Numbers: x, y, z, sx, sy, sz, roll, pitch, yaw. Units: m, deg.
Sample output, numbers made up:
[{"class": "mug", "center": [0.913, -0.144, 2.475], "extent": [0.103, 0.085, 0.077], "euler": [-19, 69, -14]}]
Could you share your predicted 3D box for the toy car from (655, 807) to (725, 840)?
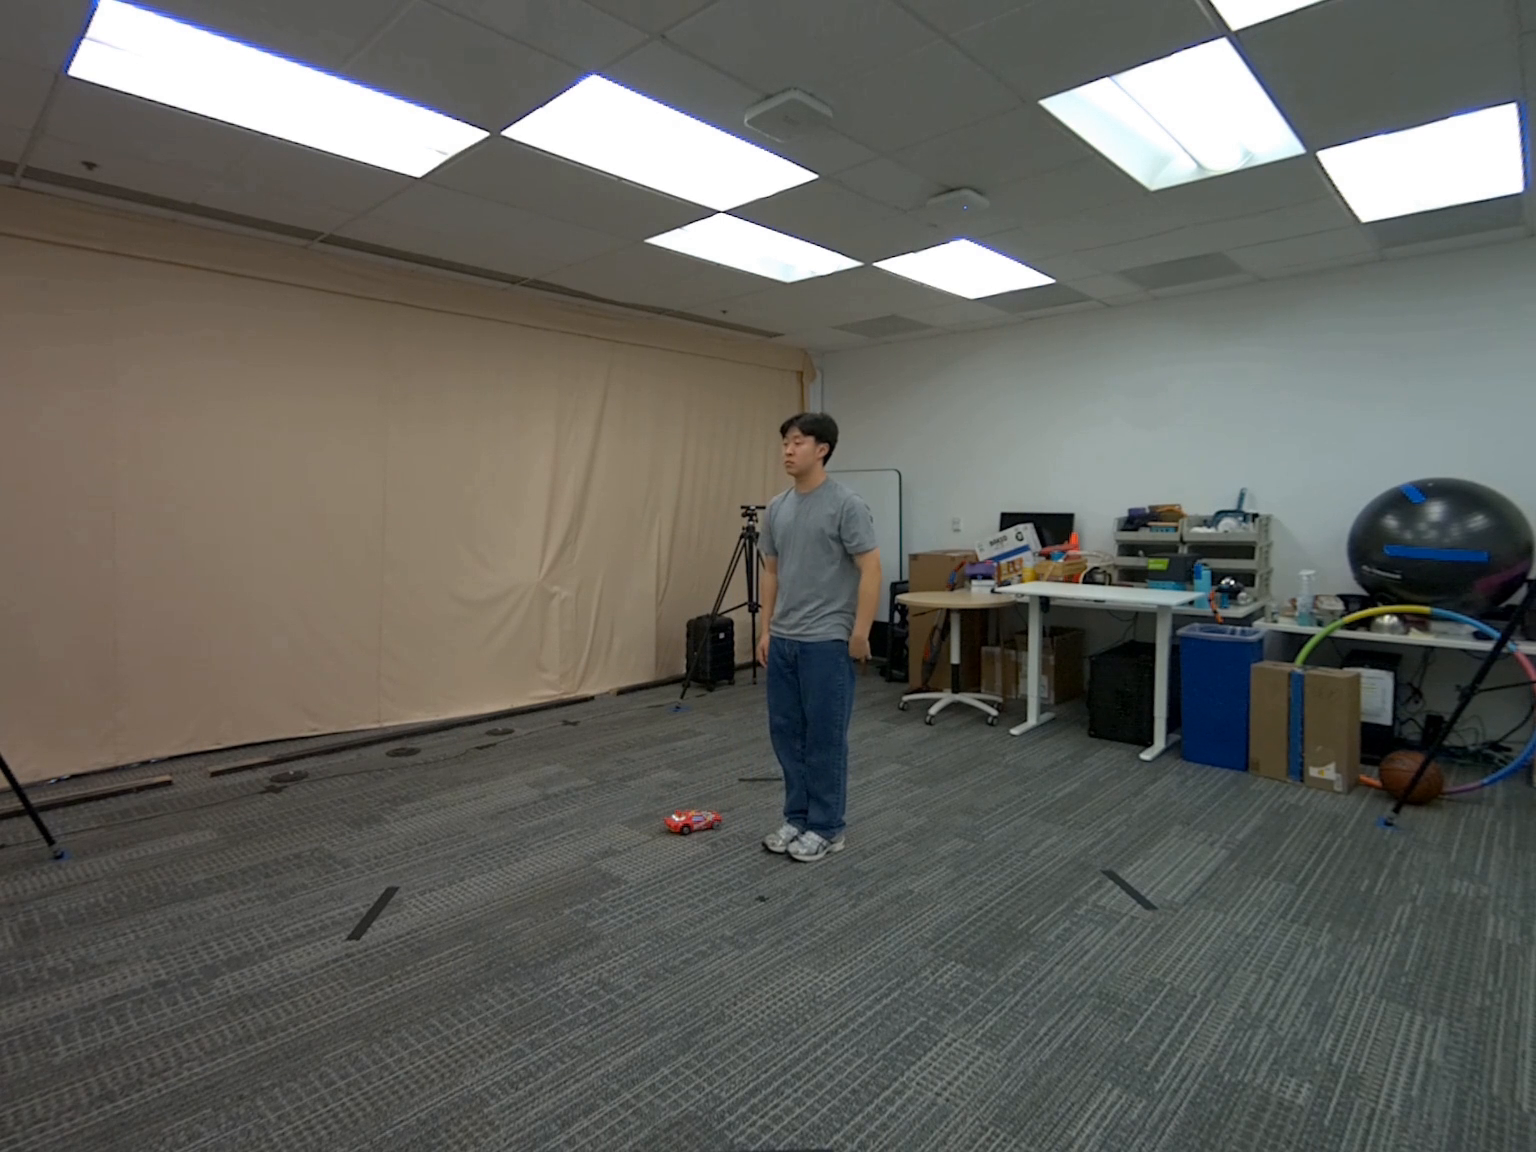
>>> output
[{"class": "toy car", "center": [-0.337, 1.059, 3.628], "extent": [0.248, 0.083, 0.133], "euler": [10, -3, -24]}]
